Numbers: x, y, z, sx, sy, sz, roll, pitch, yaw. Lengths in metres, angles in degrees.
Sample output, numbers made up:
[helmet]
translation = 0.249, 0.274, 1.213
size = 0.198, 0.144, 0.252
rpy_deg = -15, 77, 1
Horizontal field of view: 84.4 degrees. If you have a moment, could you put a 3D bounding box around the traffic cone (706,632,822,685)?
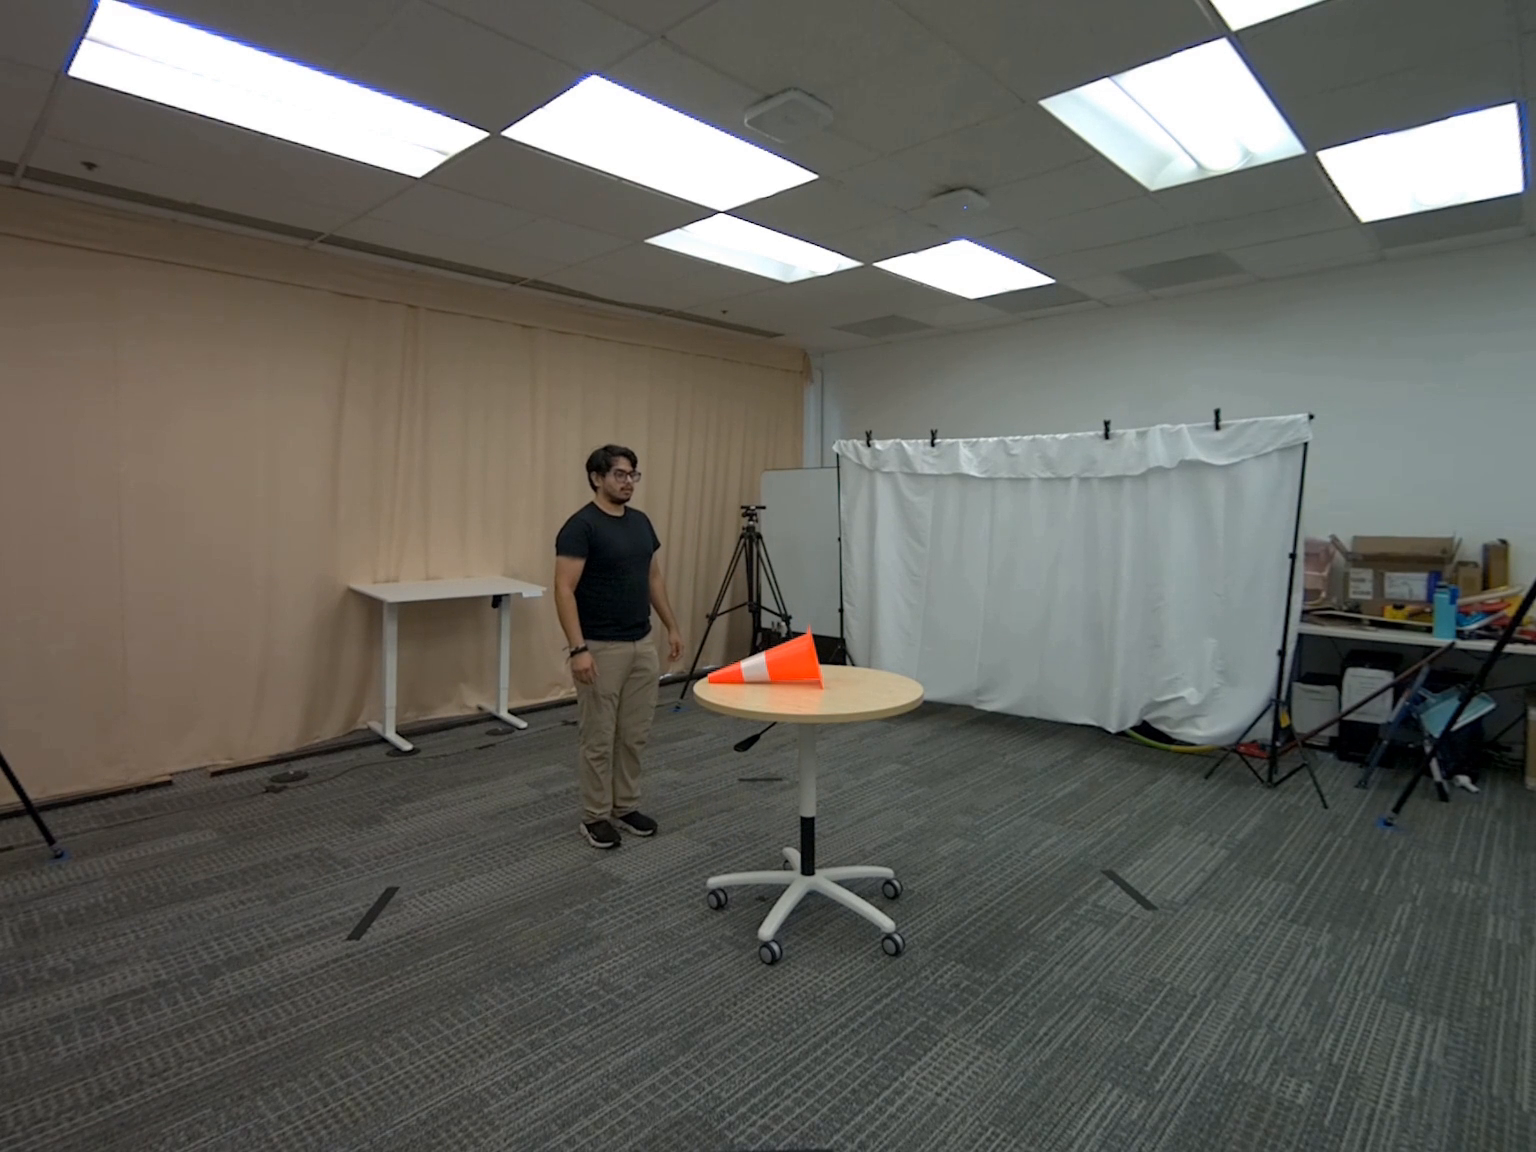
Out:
[traffic cone]
translation = -0.023, 0.327, 2.886
size = 0.384, 0.201, 0.206
rpy_deg = -15, 12, 2
